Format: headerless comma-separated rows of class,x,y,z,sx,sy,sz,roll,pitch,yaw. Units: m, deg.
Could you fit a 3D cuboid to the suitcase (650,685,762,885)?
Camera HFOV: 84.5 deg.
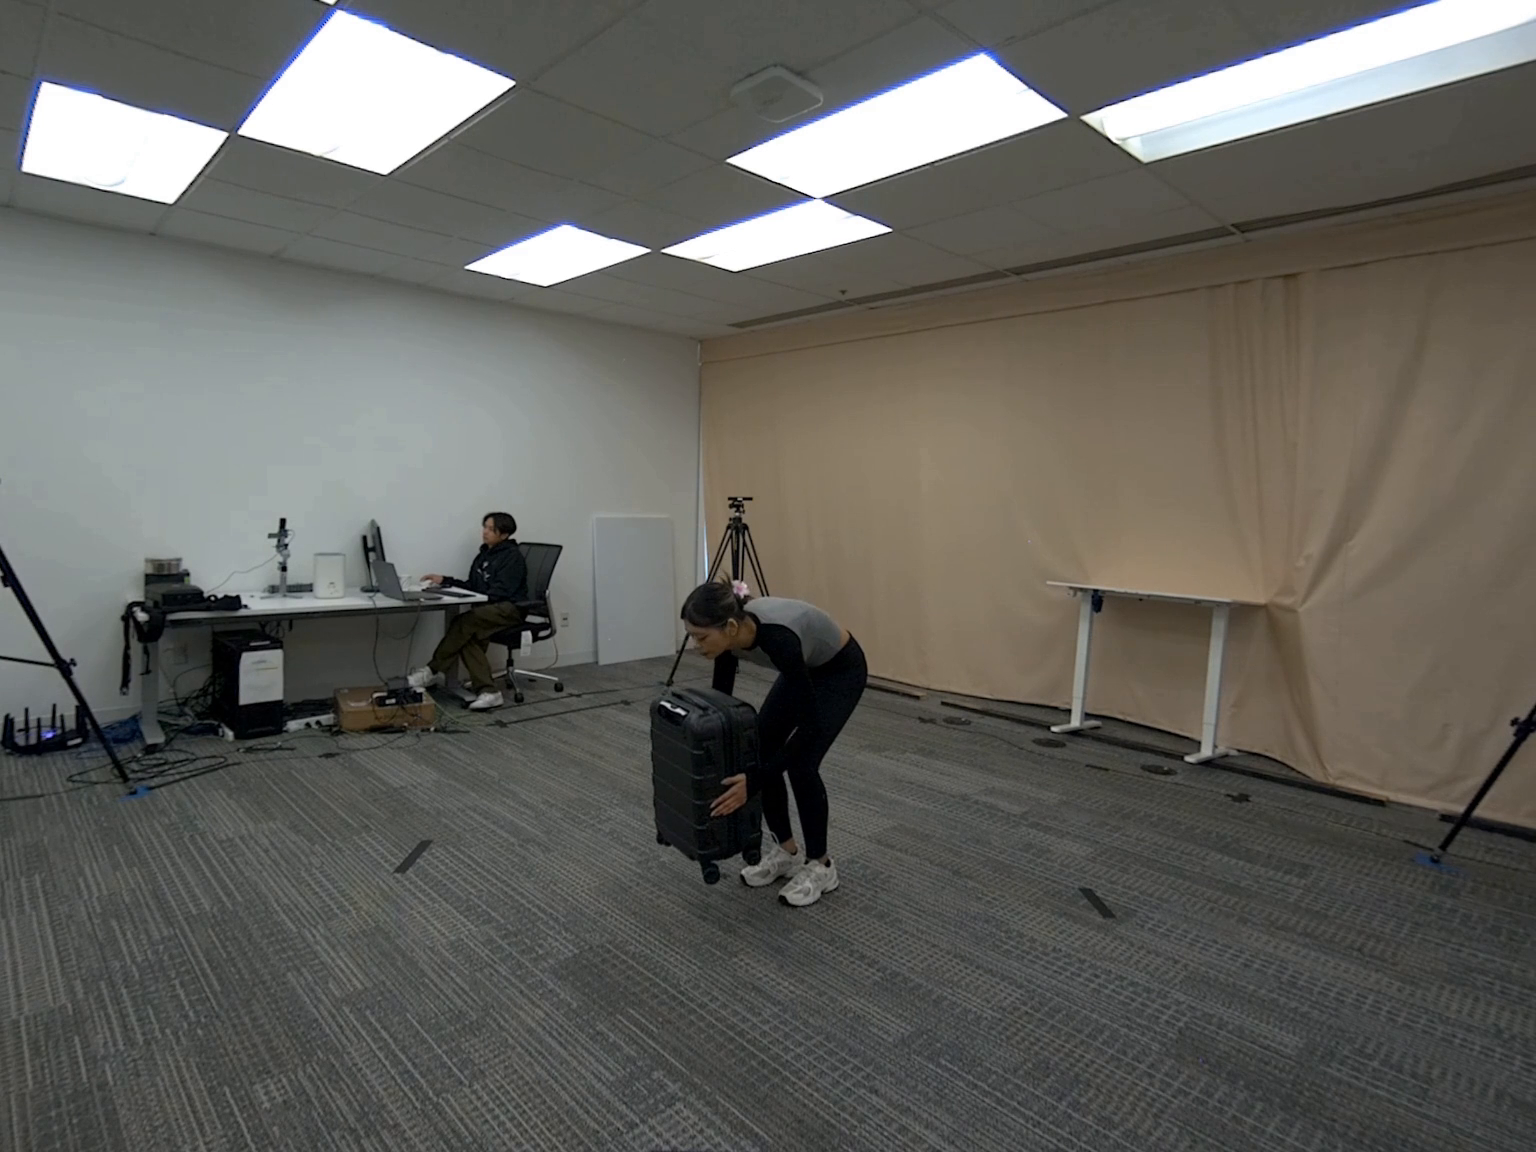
suitcase,-0.214,0.657,2.784,0.243,0.546,0.384,-7,8,-33
